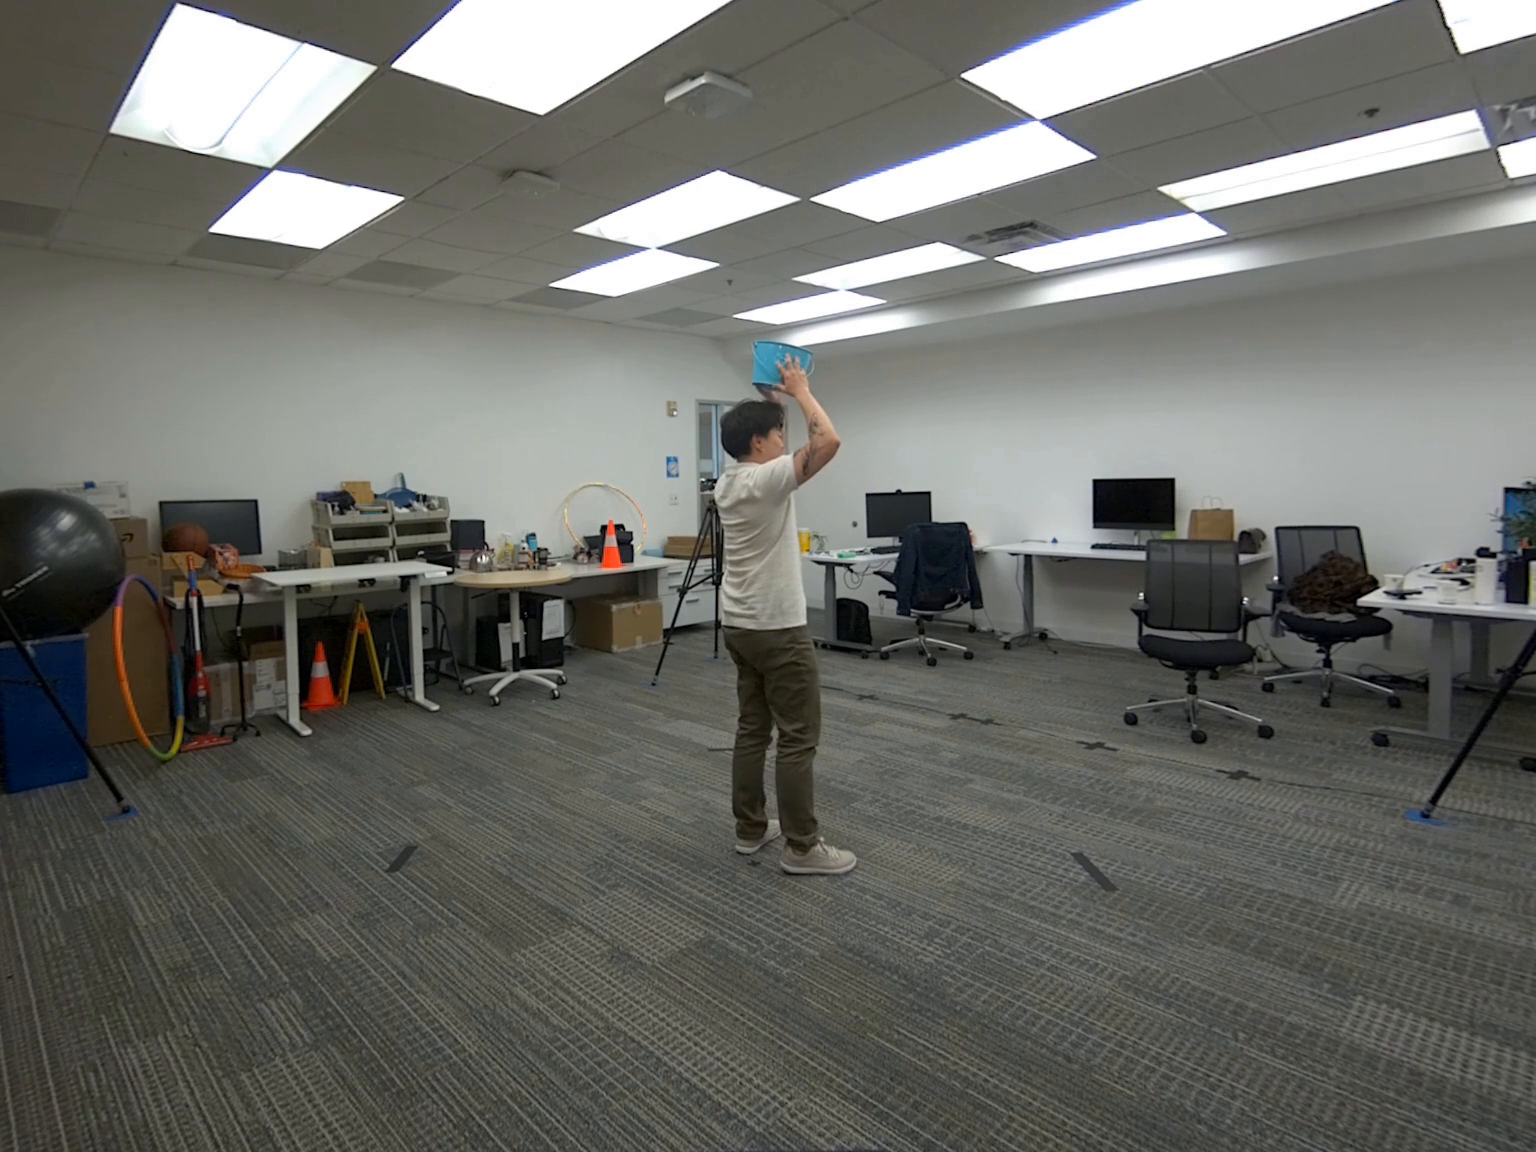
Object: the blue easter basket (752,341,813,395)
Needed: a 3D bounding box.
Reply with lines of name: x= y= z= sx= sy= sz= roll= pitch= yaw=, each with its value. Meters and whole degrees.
blue easter basket: x=0.053 y=-0.783 z=3.215 sx=0.243 sy=0.155 sz=0.245 roll=13 pitch=5 yaw=-3
